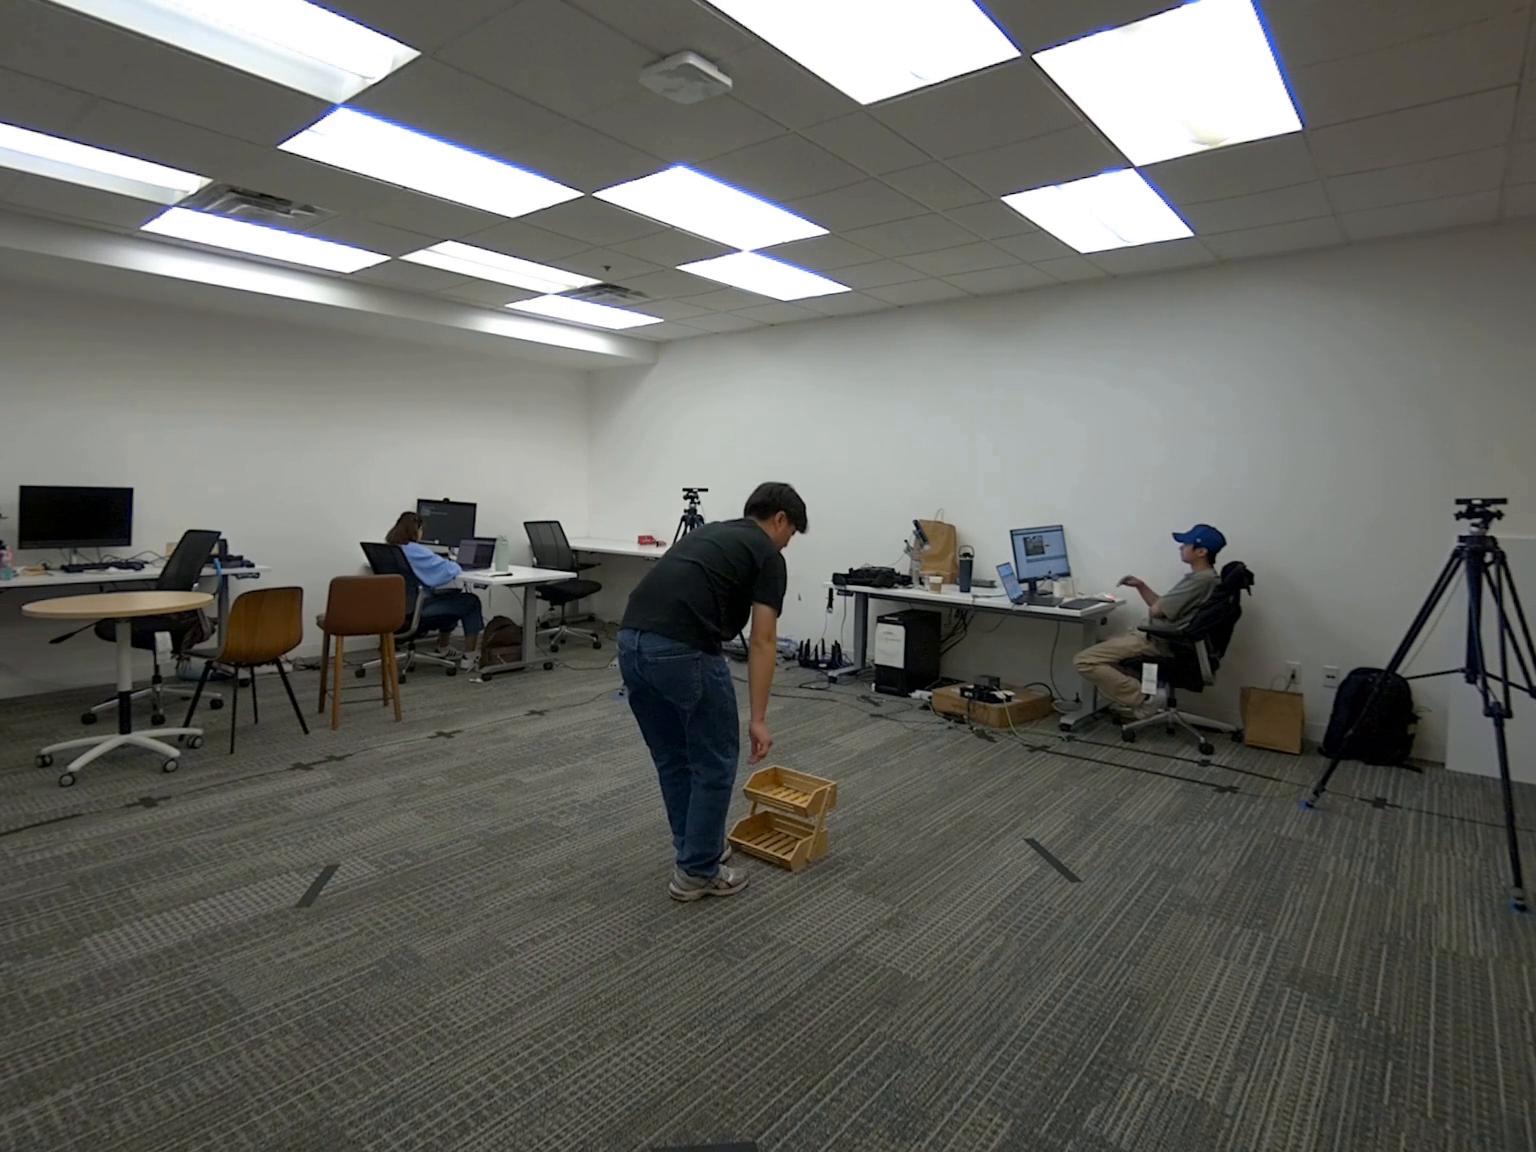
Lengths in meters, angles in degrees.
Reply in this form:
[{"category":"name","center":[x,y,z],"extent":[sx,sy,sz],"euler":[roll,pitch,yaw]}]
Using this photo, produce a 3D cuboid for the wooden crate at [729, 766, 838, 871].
[{"category":"wooden crate","center":[0.045,0.932,3.305],"extent":[0.335,0.272,0.293],"euler":[5,5,39]}]
